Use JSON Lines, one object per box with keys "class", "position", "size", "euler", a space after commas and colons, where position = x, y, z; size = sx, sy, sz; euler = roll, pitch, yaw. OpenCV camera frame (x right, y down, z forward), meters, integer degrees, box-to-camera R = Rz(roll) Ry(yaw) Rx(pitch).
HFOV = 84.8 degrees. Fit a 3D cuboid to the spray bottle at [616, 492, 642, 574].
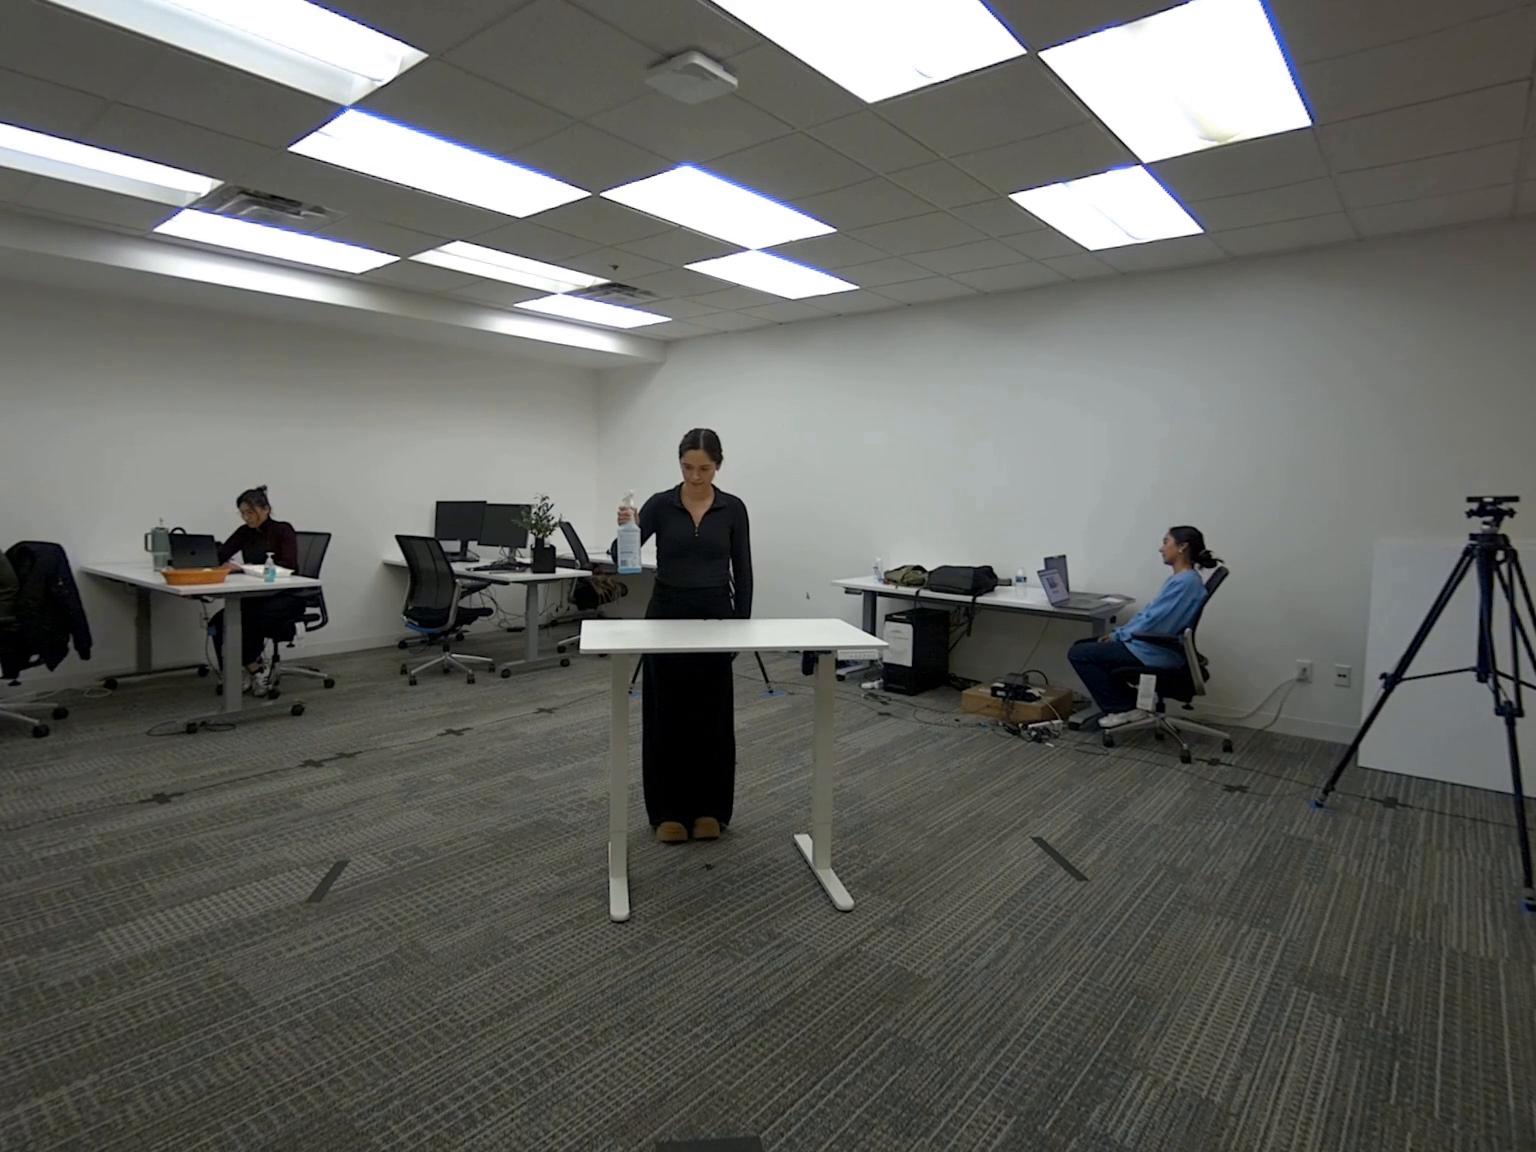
{"class": "spray bottle", "position": [-0.537, -0.162, 3.102], "size": [0.087, 0.298, 0.090], "euler": [0, -2, 0]}
